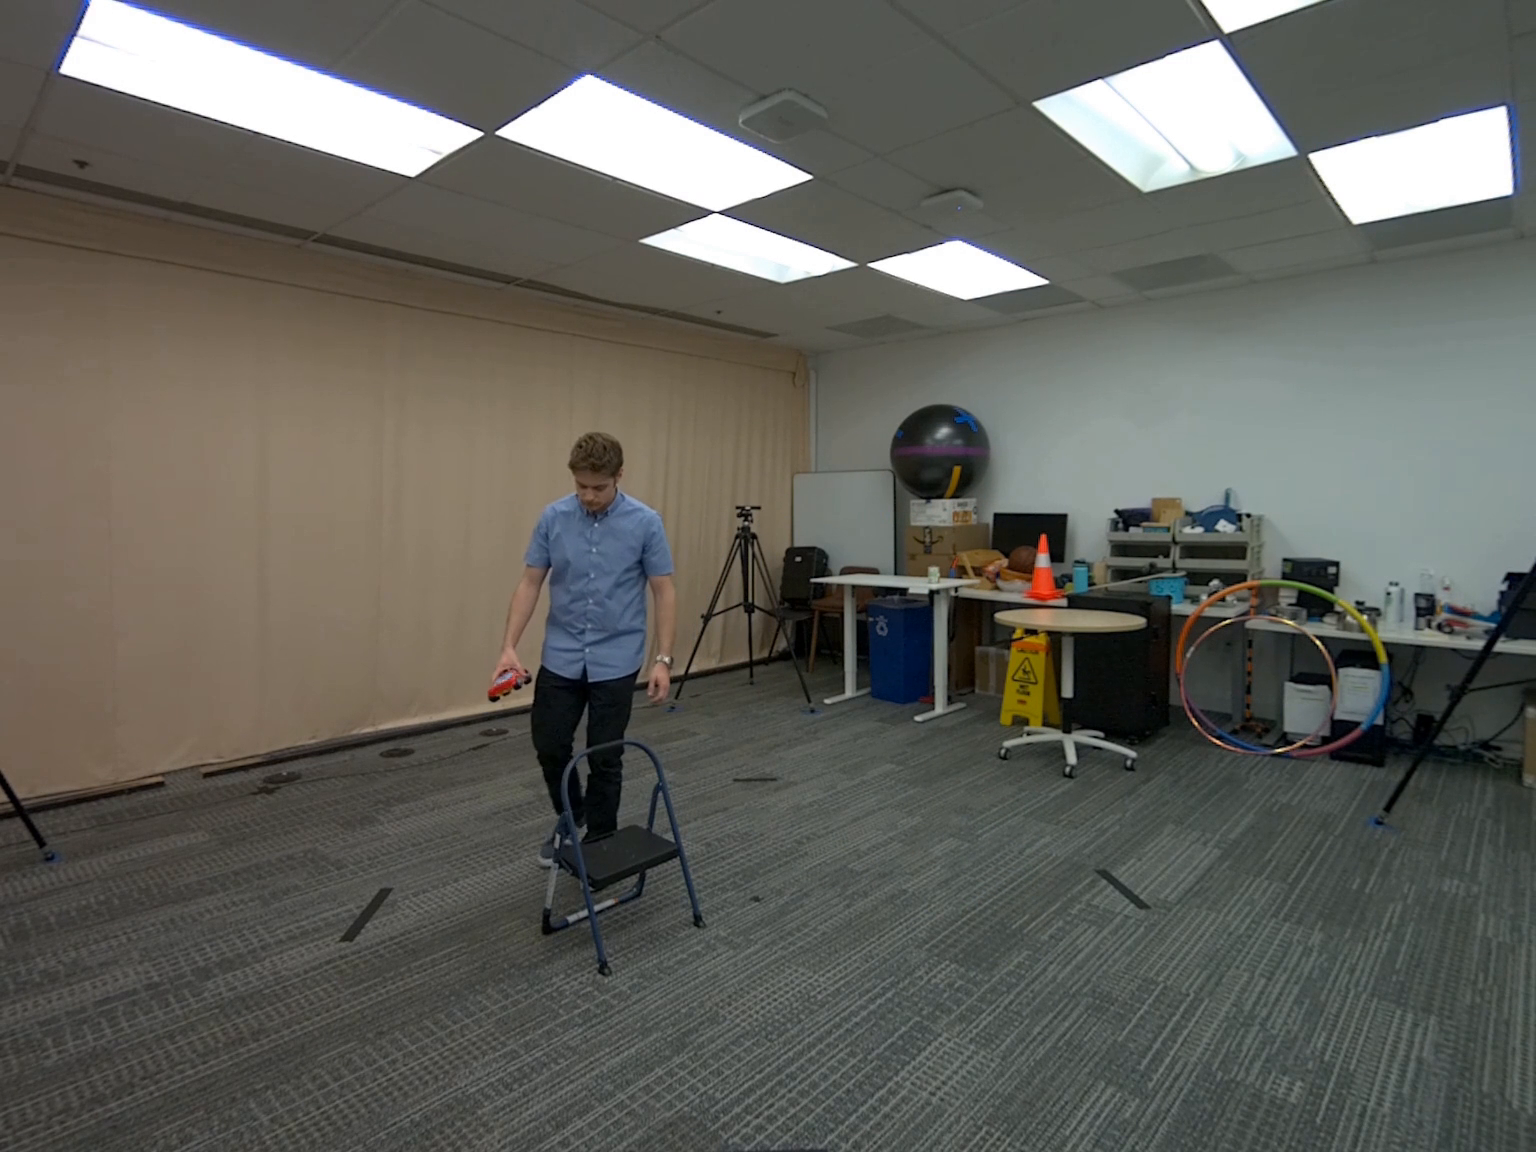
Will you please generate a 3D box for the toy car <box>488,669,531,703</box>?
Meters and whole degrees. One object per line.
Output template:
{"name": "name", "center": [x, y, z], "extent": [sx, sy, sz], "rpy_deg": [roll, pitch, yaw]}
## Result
{"name": "toy car", "center": [-0.908, 0.378, 2.965], "extent": [0.130, 0.082, 0.257], "rpy_deg": [-29, 11, -2]}
